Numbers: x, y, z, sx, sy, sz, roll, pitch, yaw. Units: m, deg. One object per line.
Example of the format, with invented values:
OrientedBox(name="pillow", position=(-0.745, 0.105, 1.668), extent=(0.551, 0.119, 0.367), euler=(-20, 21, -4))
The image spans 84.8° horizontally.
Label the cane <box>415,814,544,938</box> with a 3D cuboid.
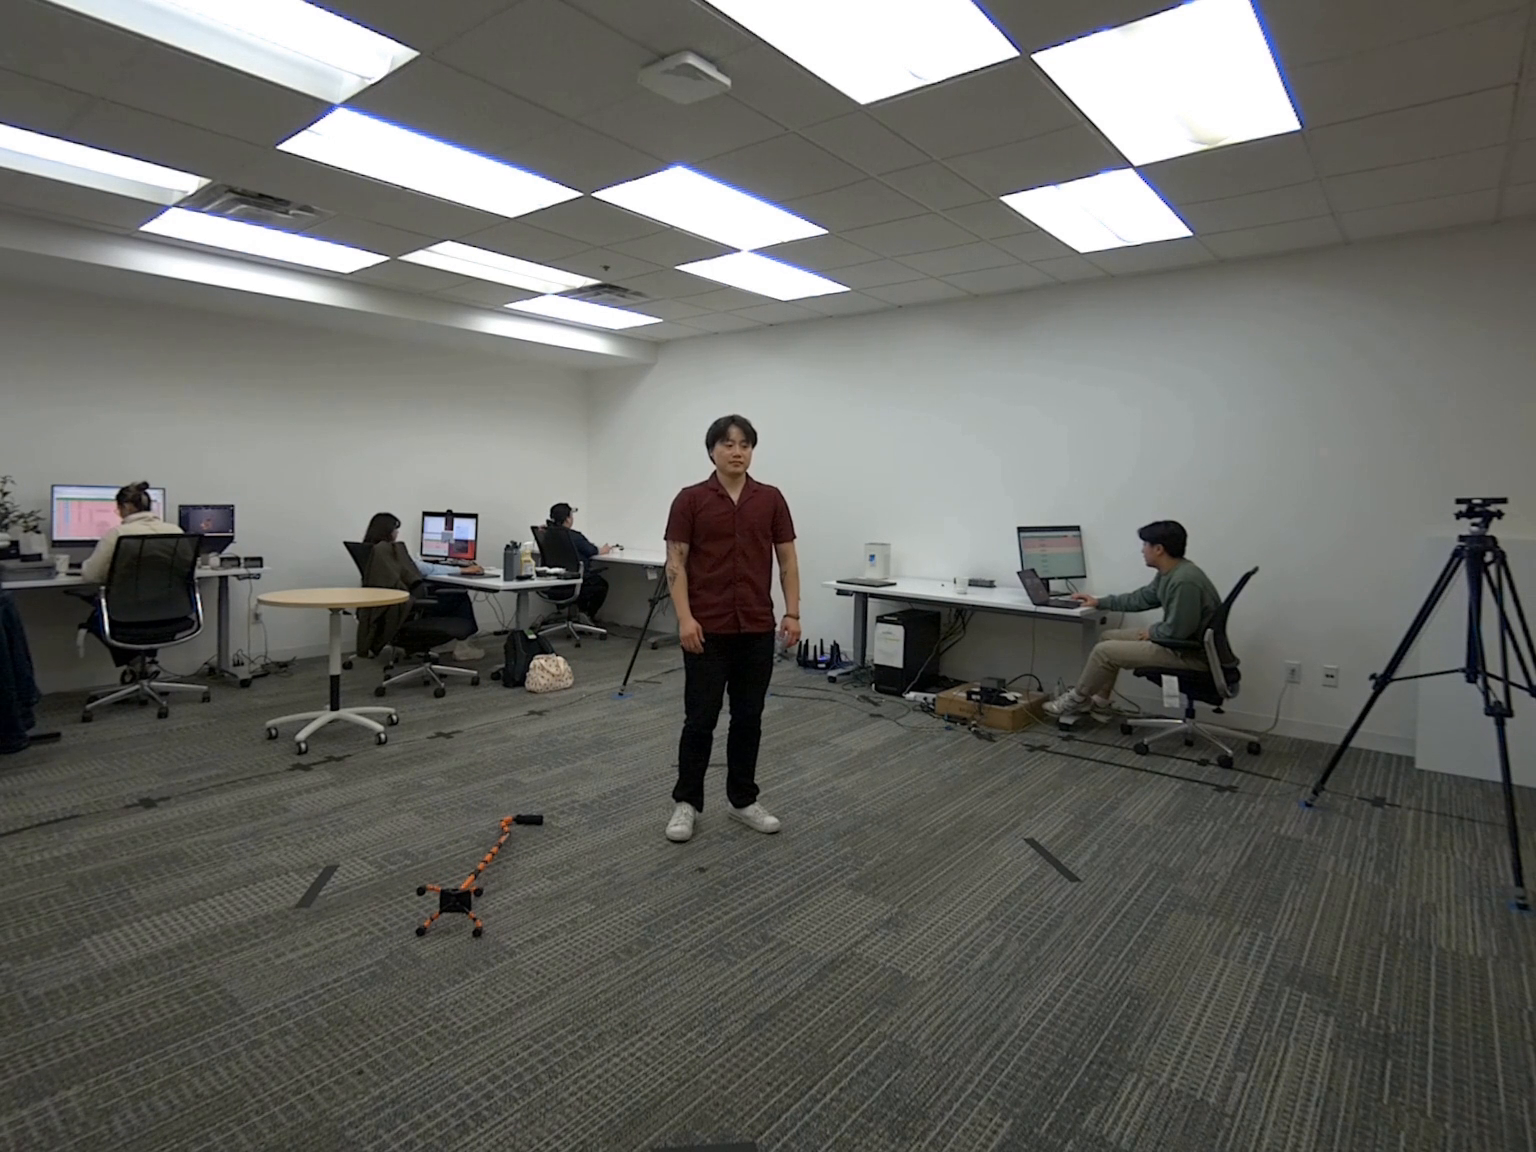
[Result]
OrientedBox(name="cane", position=(-1.019, 1.020, 3.066), extent=(0.206, 0.152, 0.909), euler=(1, 1, -3))
